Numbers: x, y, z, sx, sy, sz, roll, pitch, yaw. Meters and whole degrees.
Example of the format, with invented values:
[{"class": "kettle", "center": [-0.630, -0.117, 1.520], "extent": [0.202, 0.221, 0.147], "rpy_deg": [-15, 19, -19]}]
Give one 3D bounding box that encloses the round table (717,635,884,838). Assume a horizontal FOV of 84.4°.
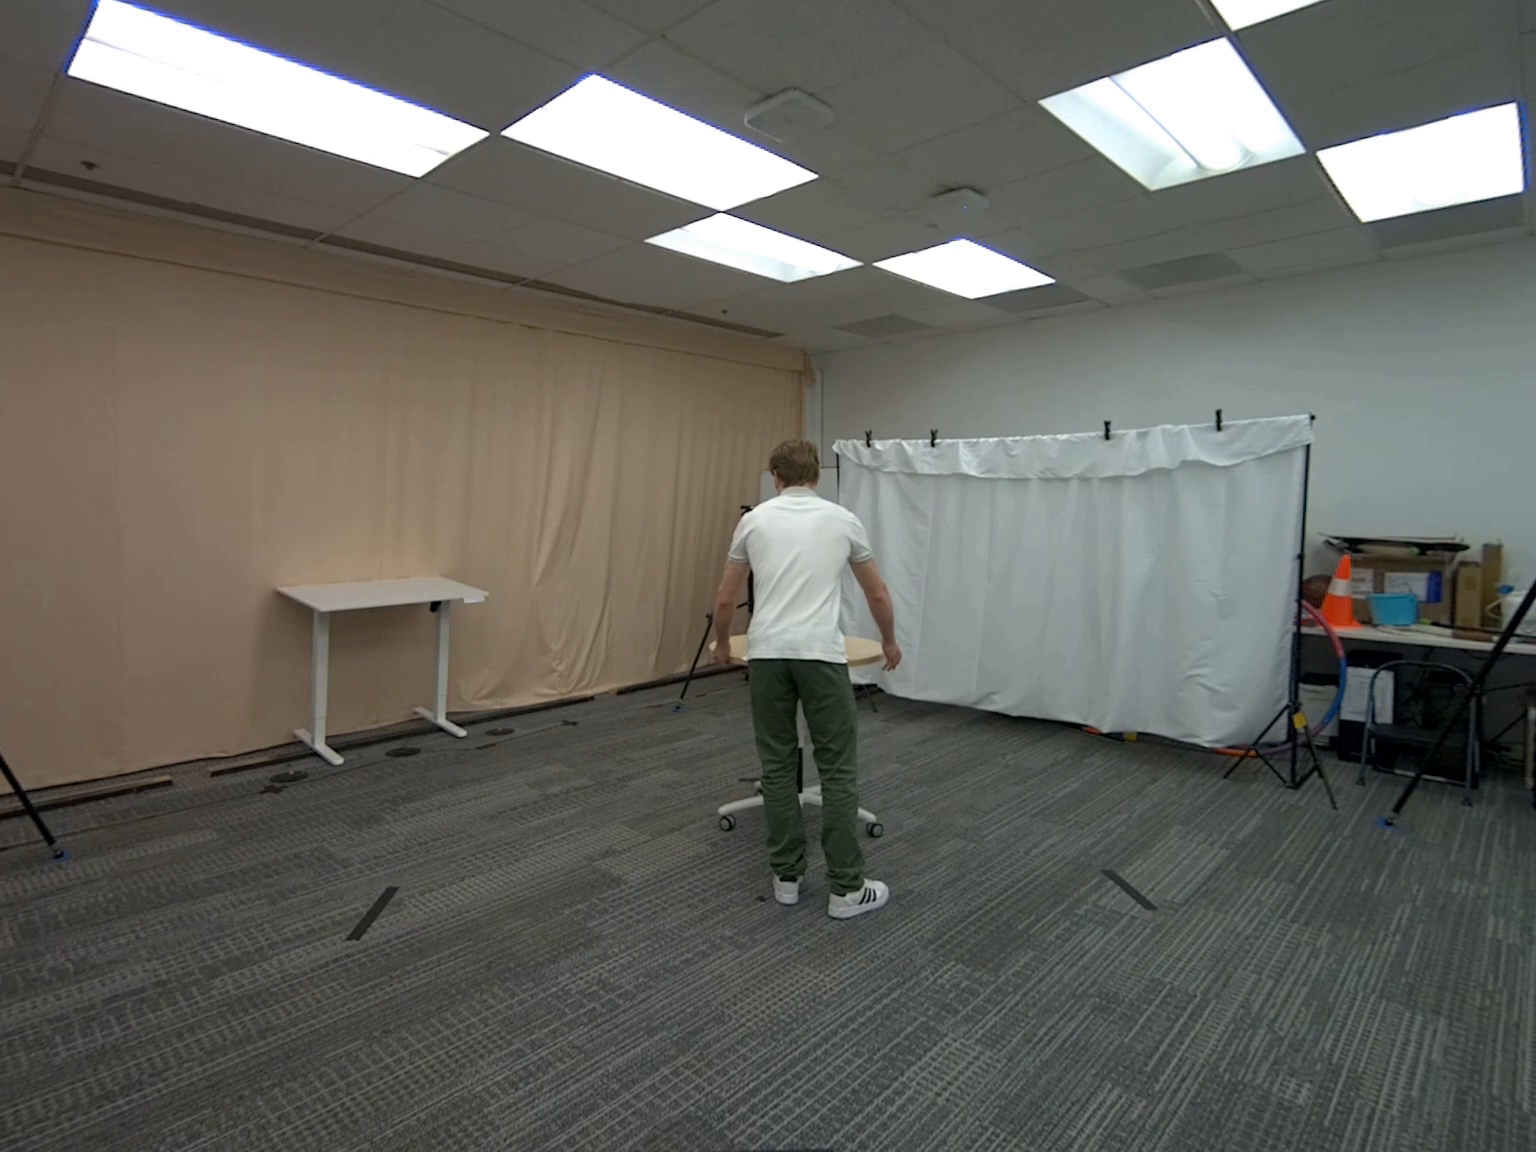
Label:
[{"class": "round table", "center": [0.137, 0.698, 3.671], "extent": [0.763, 0.792, 0.766], "rpy_deg": [0, 4, -2]}]
